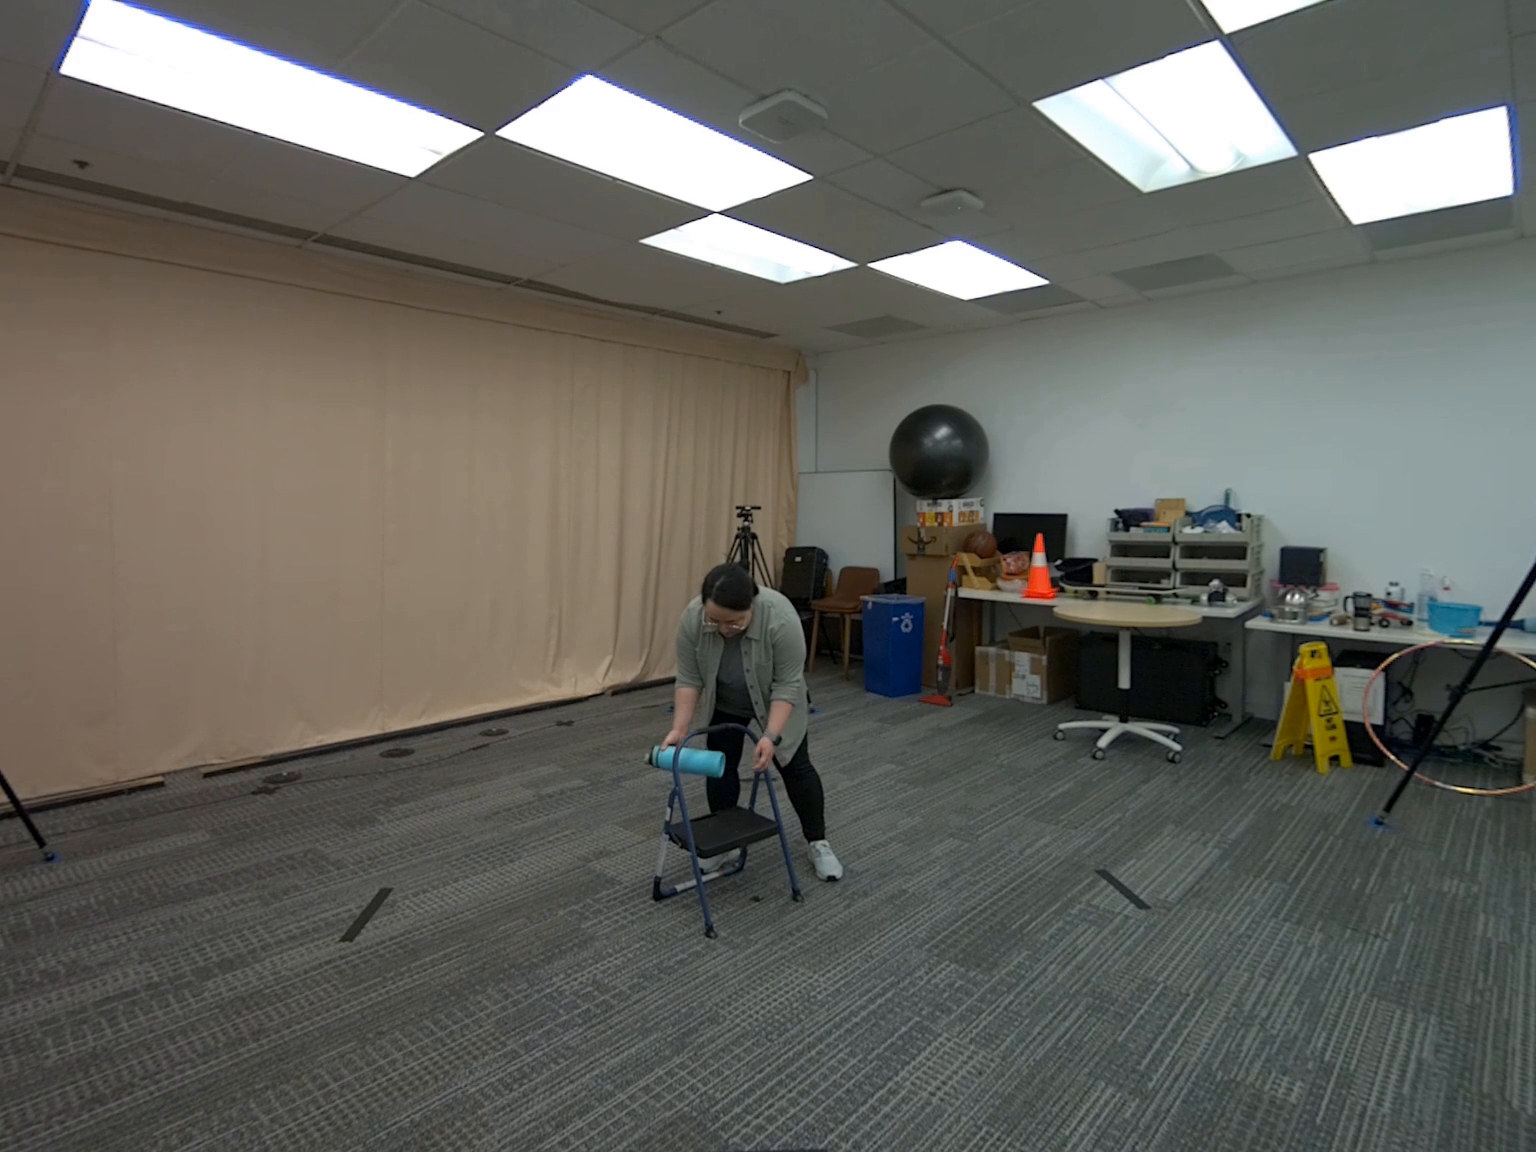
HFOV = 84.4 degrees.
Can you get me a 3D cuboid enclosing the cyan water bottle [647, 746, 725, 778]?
[{"bbox_3d":[-0.309,0.666,3.046,0.288,0.092,0.091,5,5,15],"label":"cyan water bottle"}]
